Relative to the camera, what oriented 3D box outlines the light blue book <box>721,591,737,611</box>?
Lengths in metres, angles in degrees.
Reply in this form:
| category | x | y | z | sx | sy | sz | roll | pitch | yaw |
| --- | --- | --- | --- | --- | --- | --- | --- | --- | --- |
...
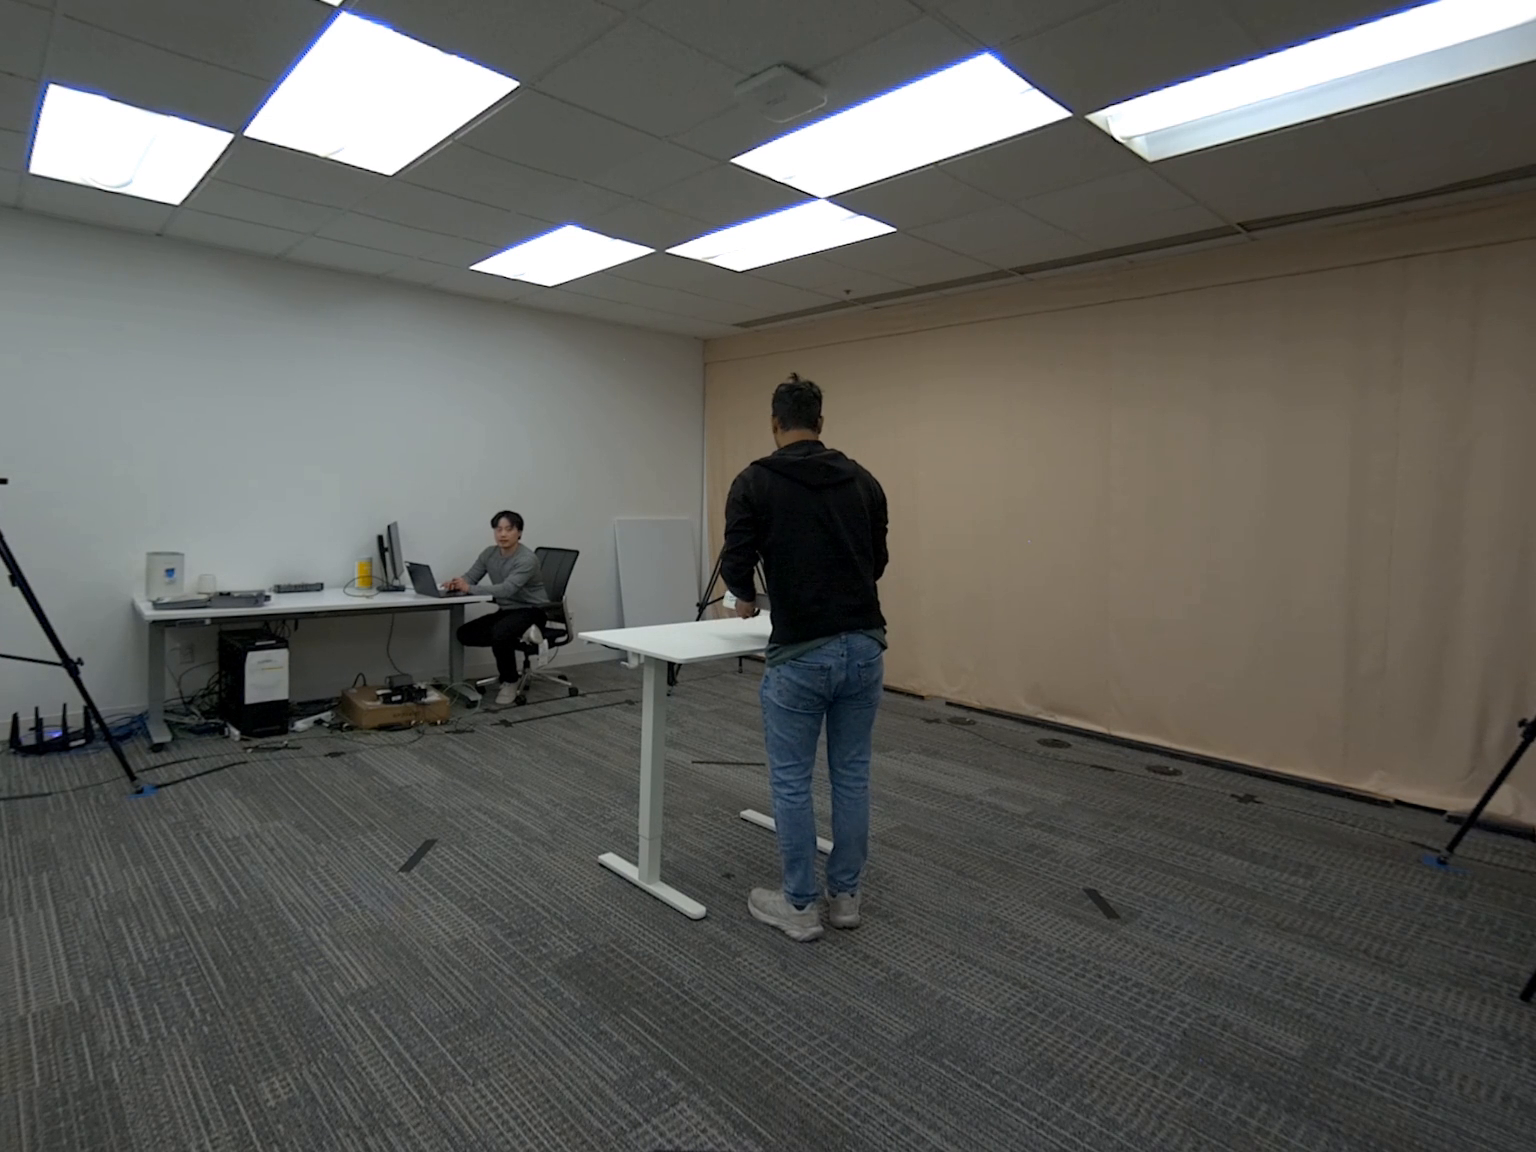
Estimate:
| category | x | y | z | sx | sy | sz | roll | pitch | yaw |
| --- | --- | --- | --- | --- | --- | --- | --- | --- | --- |
| light blue book | -0.033 | 0.104 | 3.074 | 0.189 | 0.059 | 0.263 | 12 | -2 | -13 |
